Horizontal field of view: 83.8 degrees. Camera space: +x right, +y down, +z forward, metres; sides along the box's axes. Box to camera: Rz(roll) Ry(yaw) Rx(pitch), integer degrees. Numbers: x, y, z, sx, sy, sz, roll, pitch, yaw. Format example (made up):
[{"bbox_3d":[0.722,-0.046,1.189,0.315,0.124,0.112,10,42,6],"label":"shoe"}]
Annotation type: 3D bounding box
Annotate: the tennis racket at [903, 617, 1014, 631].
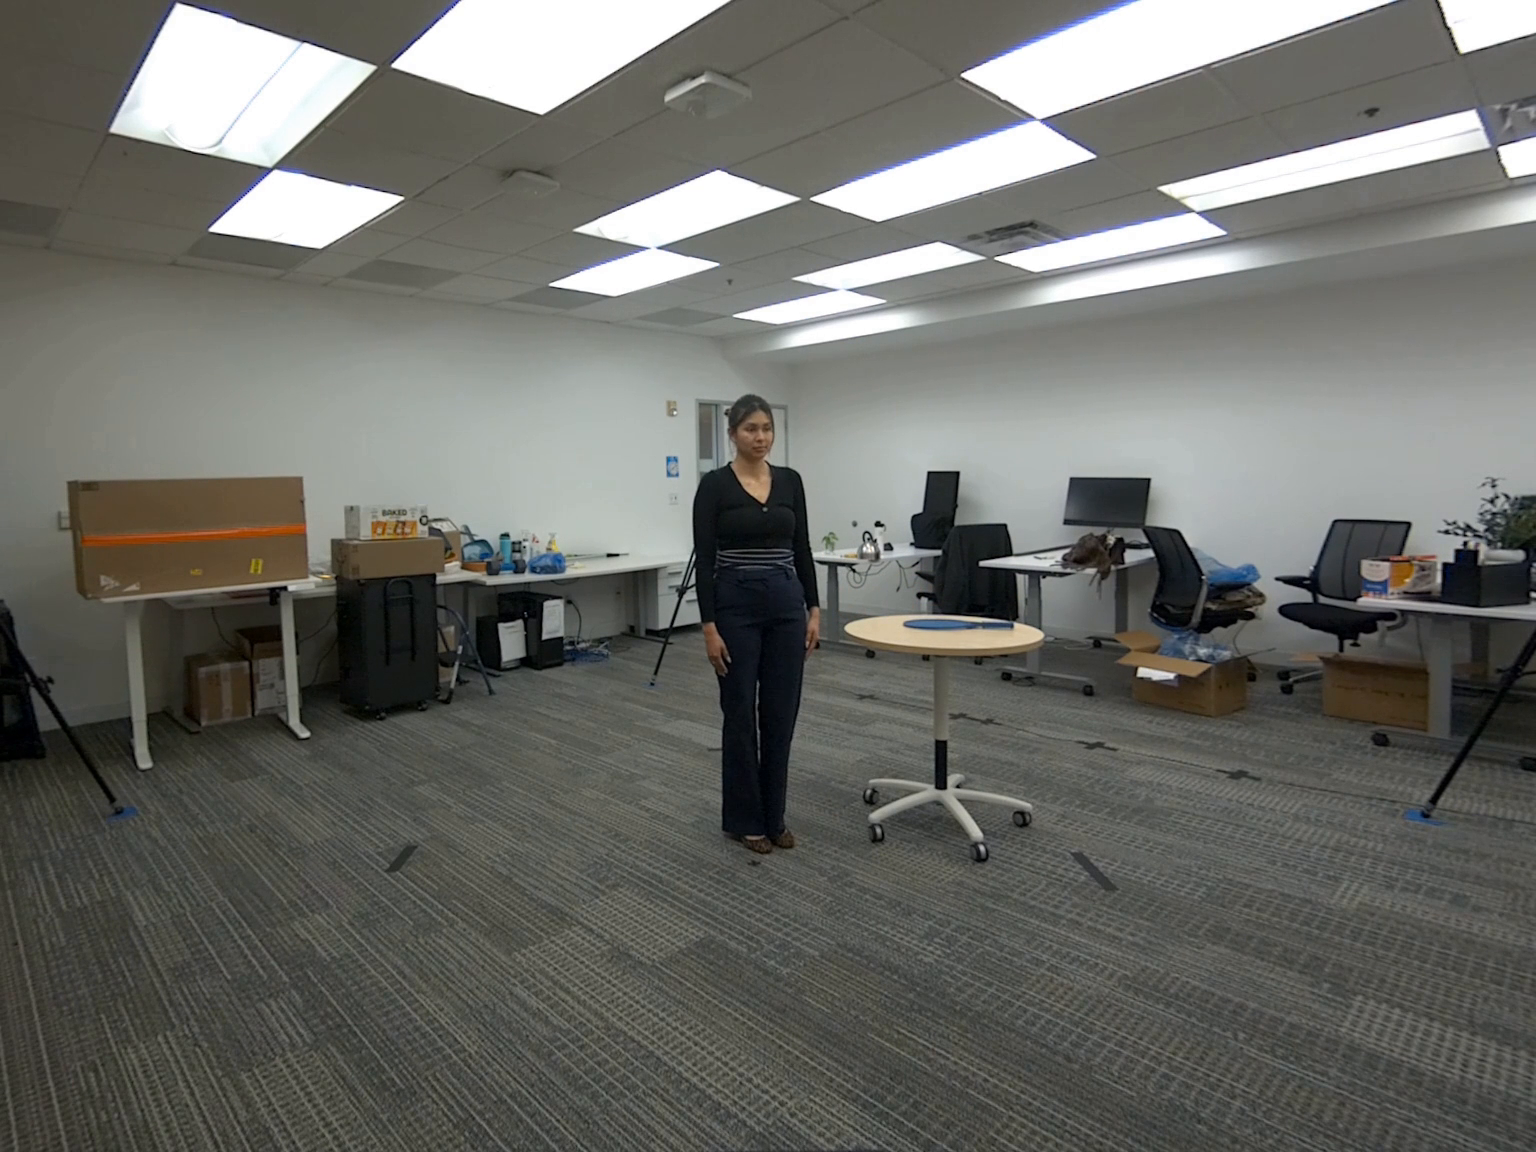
[{"bbox_3d":[0.775,0.198,3.460,0.440,0.031,0.211,0,7,17],"label":"tennis racket"}]
